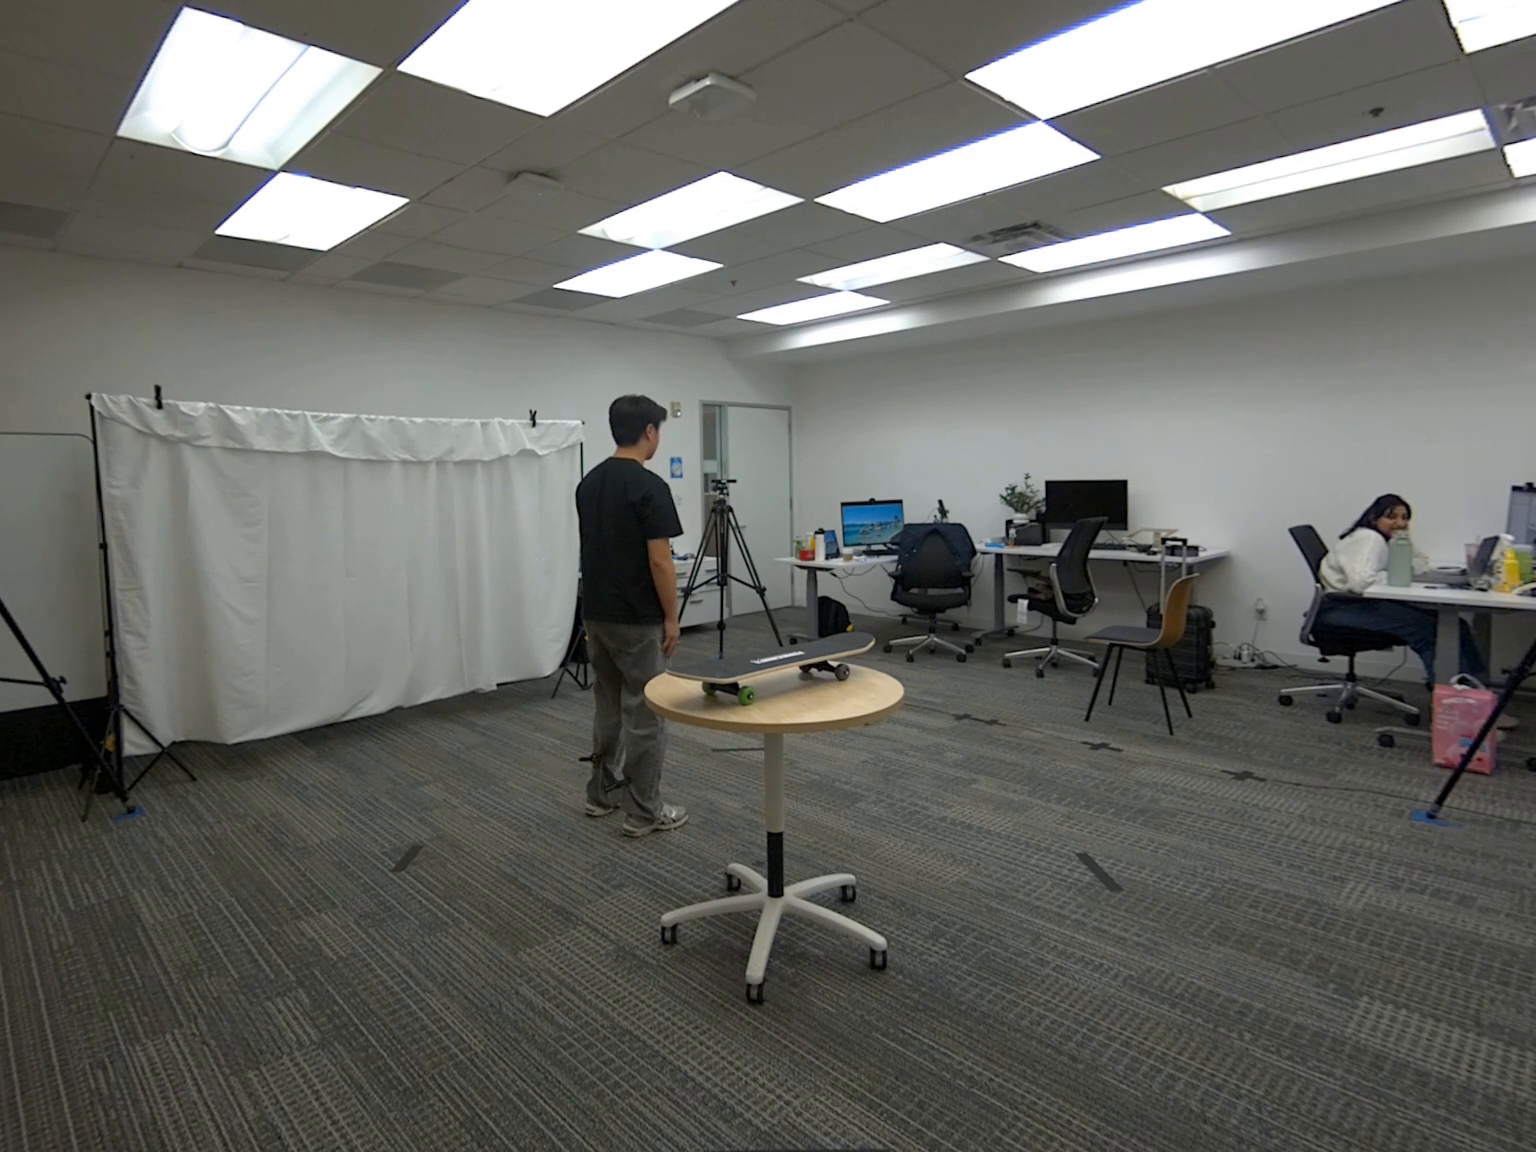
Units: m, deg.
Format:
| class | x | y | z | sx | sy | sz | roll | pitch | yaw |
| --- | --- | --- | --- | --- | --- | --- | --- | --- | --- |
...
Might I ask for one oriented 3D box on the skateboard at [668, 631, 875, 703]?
| class | x | y | z | sx | sy | sz | roll | pitch | yaw |
| --- | --- | --- | --- | --- | --- | --- | --- | --- | --- |
| skateboard | 0.034 | 0.282 | 2.509 | 0.765 | 0.110 | 0.200 | -7 | 10 | -40 |
